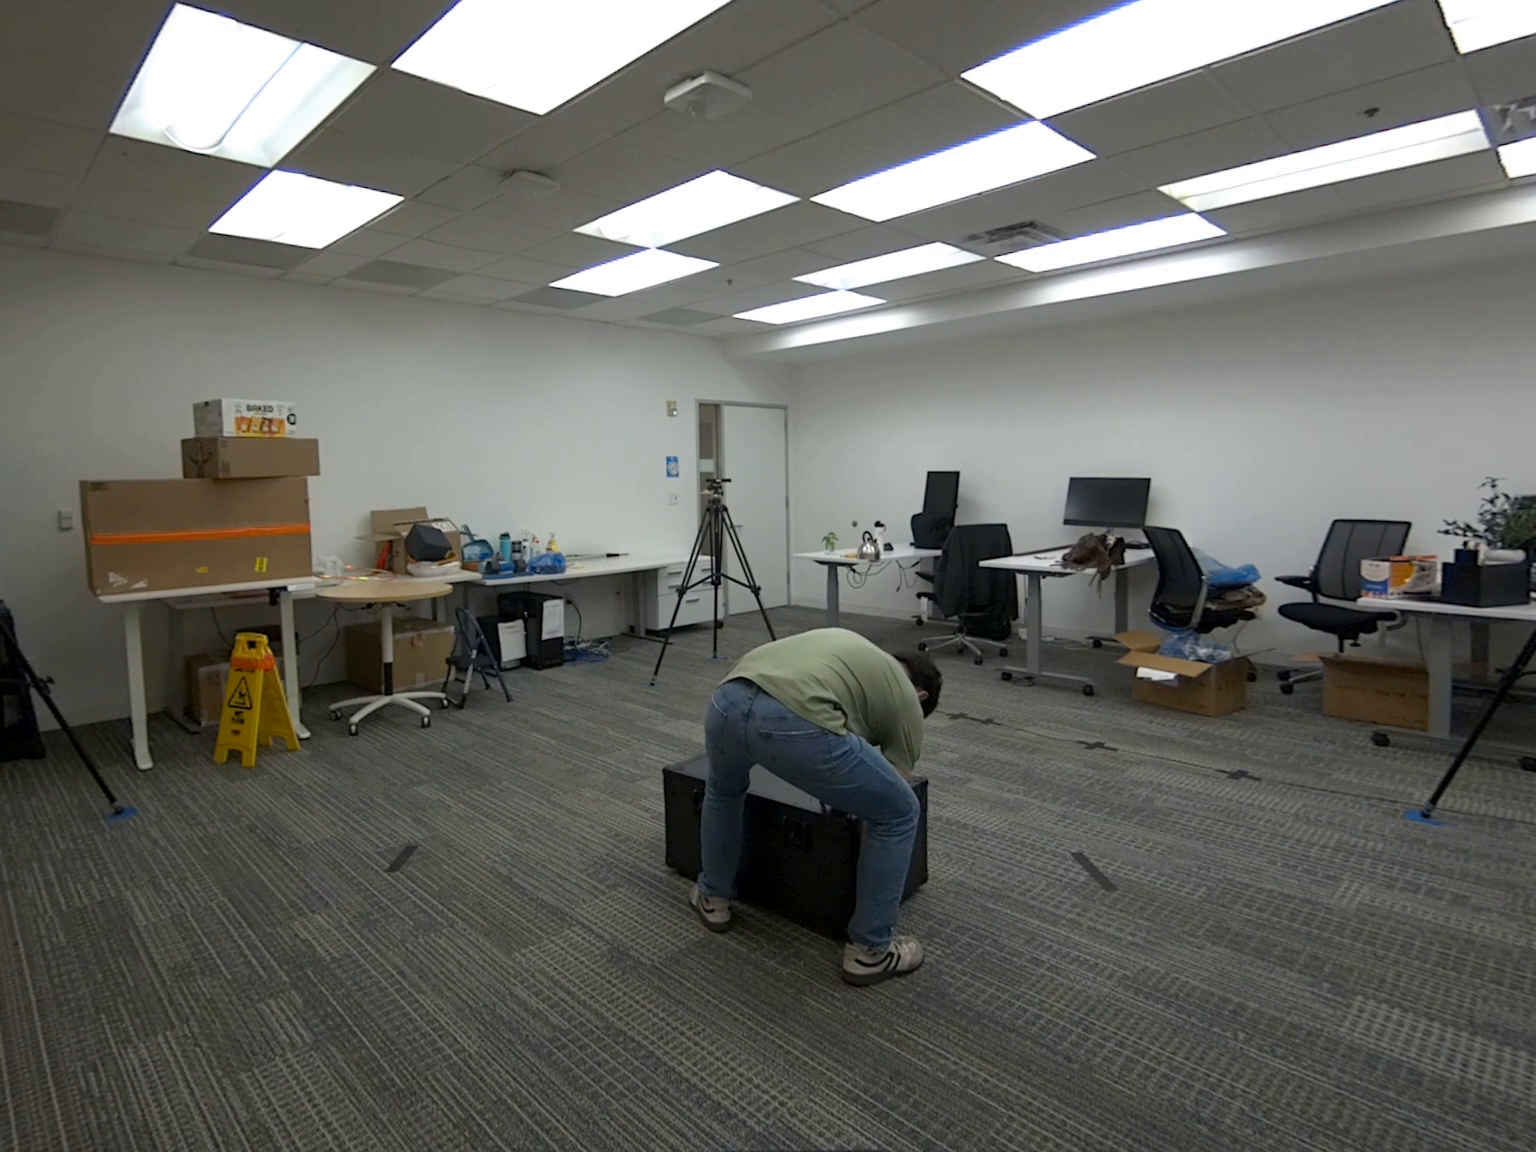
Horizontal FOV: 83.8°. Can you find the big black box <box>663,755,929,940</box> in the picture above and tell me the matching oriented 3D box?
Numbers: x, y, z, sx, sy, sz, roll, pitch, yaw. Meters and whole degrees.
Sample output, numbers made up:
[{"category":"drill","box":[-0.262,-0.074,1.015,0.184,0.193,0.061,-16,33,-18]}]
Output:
[{"category":"big black box","box":[0.063,0.863,2.988,0.888,0.394,0.508,5,8,39]}]
